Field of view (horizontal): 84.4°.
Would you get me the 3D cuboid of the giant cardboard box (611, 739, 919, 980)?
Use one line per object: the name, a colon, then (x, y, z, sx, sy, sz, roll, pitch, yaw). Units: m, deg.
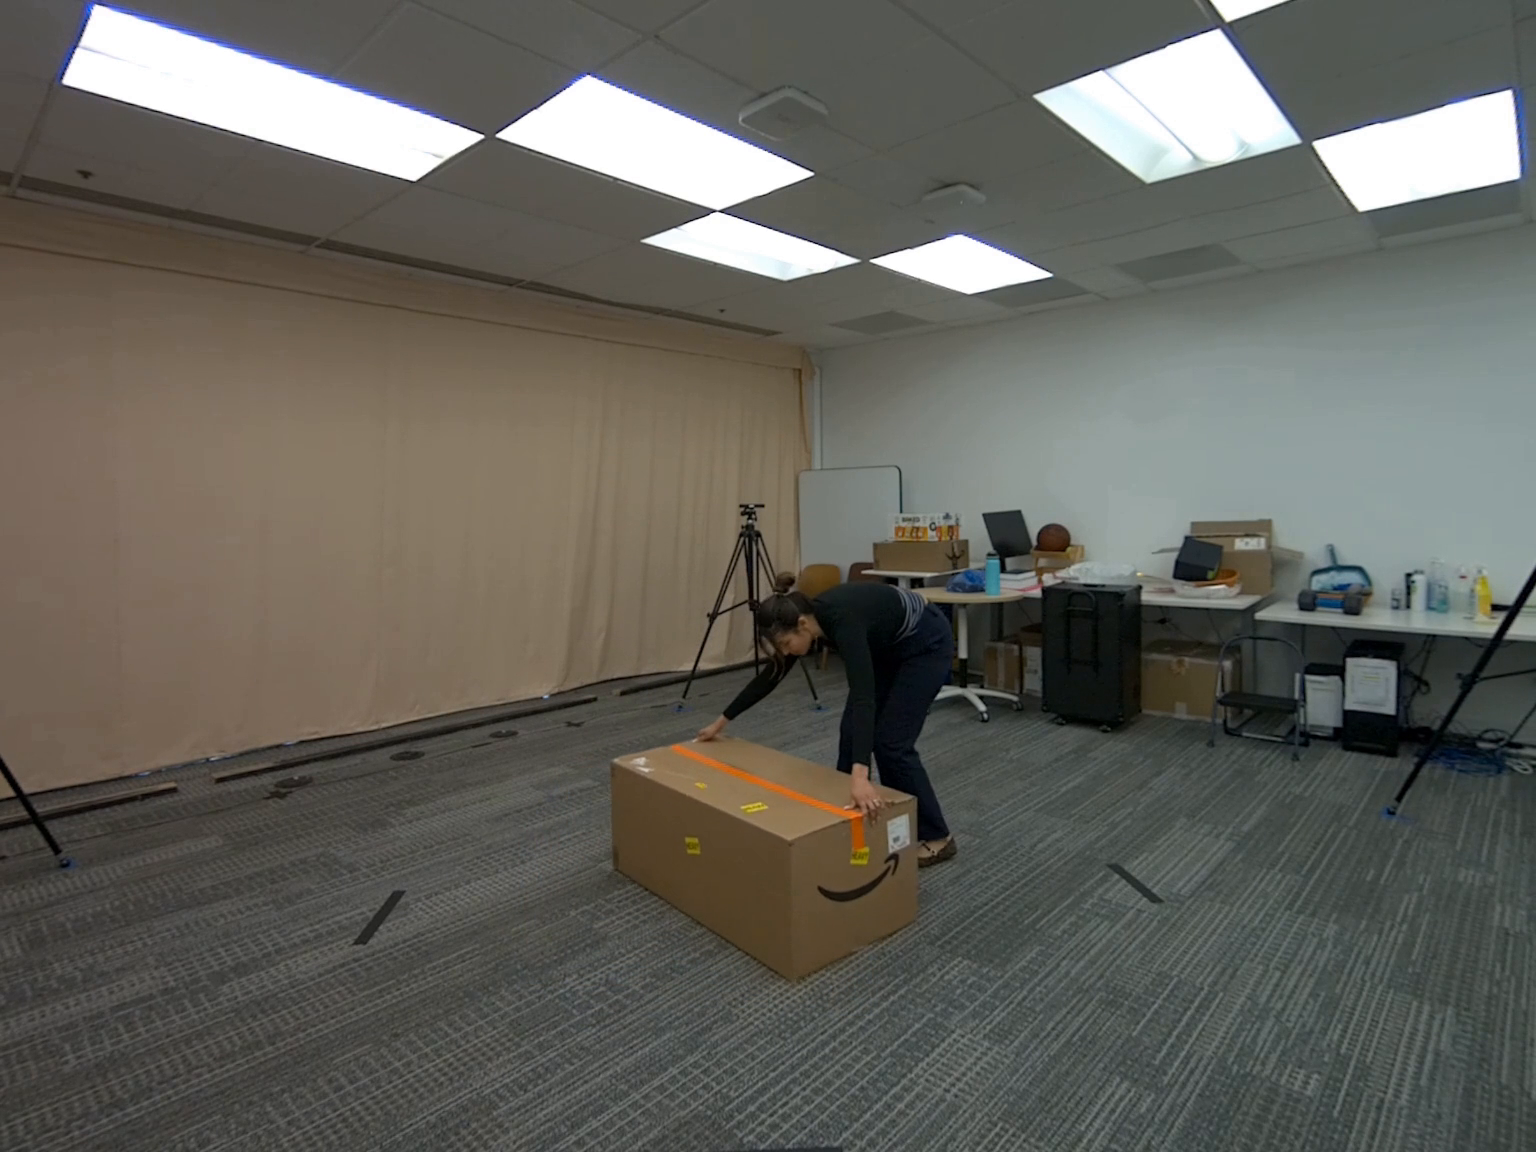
giant cardboard box: (-0.051, 0.923, 3.008, 0.560, 0.425, 1.059, -5, 6, -39)
